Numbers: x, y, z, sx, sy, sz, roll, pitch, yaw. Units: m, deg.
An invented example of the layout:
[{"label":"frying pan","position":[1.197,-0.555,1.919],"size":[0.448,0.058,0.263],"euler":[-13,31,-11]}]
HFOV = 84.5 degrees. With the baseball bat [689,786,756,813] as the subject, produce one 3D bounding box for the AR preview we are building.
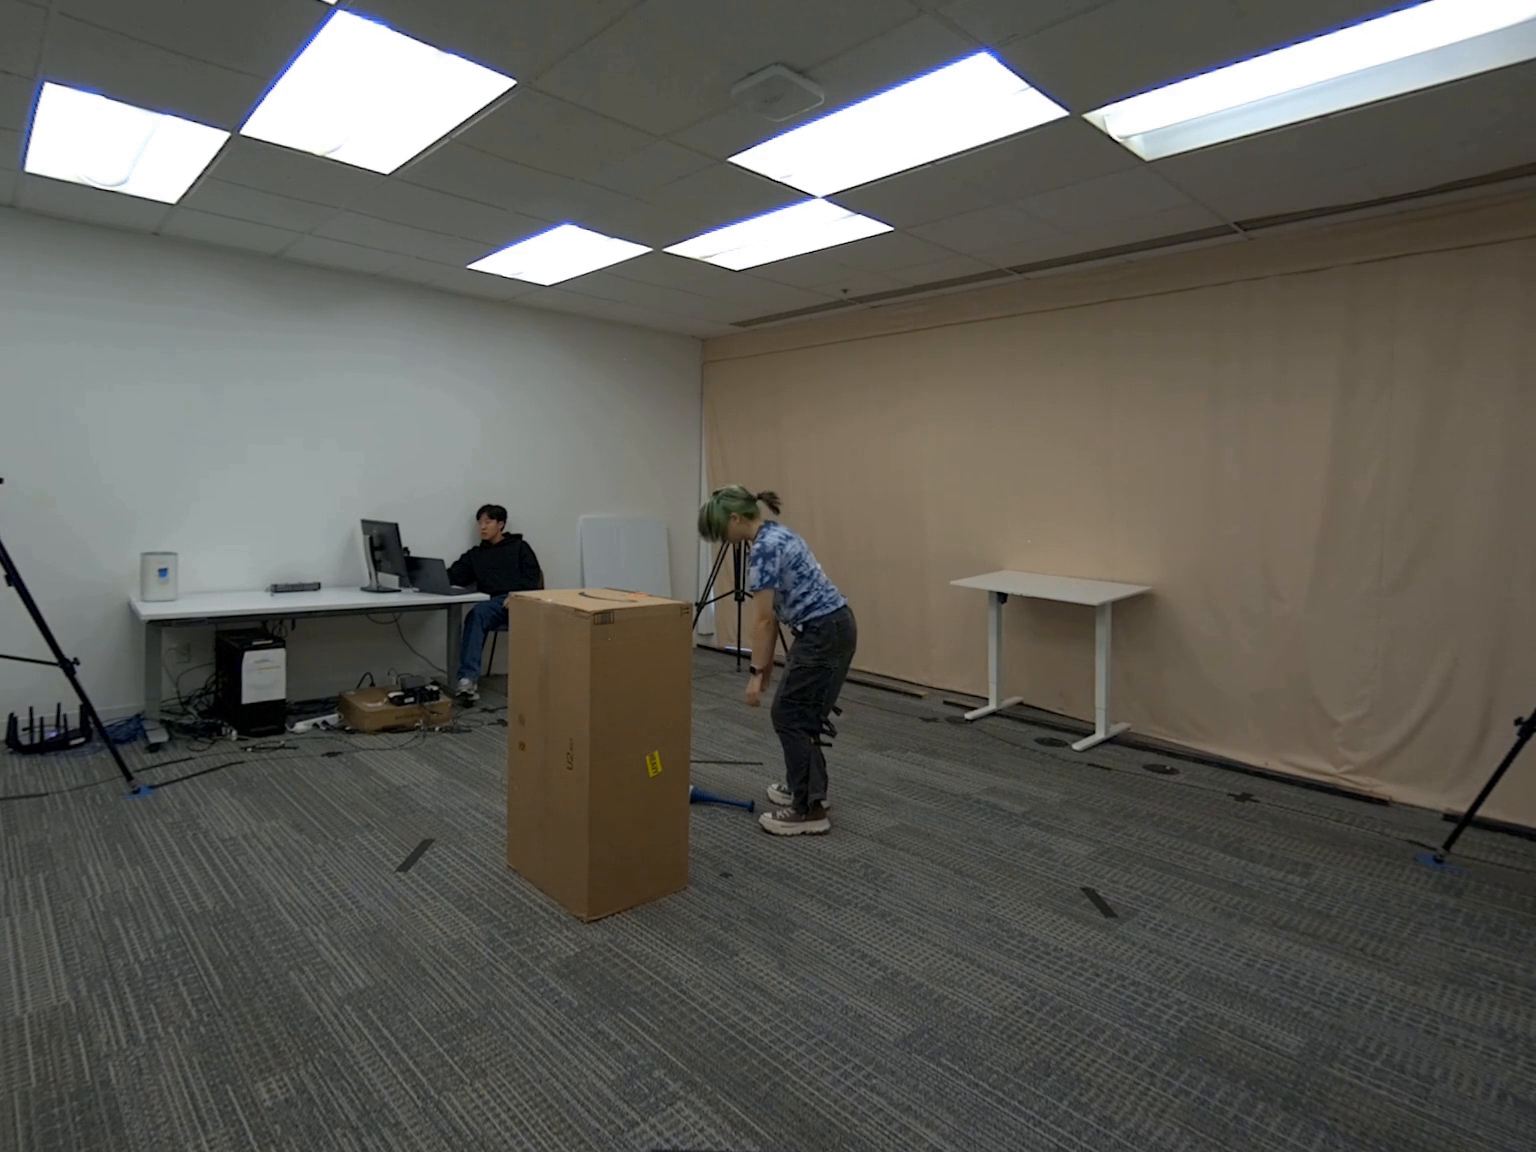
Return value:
[{"label":"baseball bat","position":[-0.340,1.007,3.839],"size":[0.552,0.089,0.088],"euler":[7,6,19]}]
